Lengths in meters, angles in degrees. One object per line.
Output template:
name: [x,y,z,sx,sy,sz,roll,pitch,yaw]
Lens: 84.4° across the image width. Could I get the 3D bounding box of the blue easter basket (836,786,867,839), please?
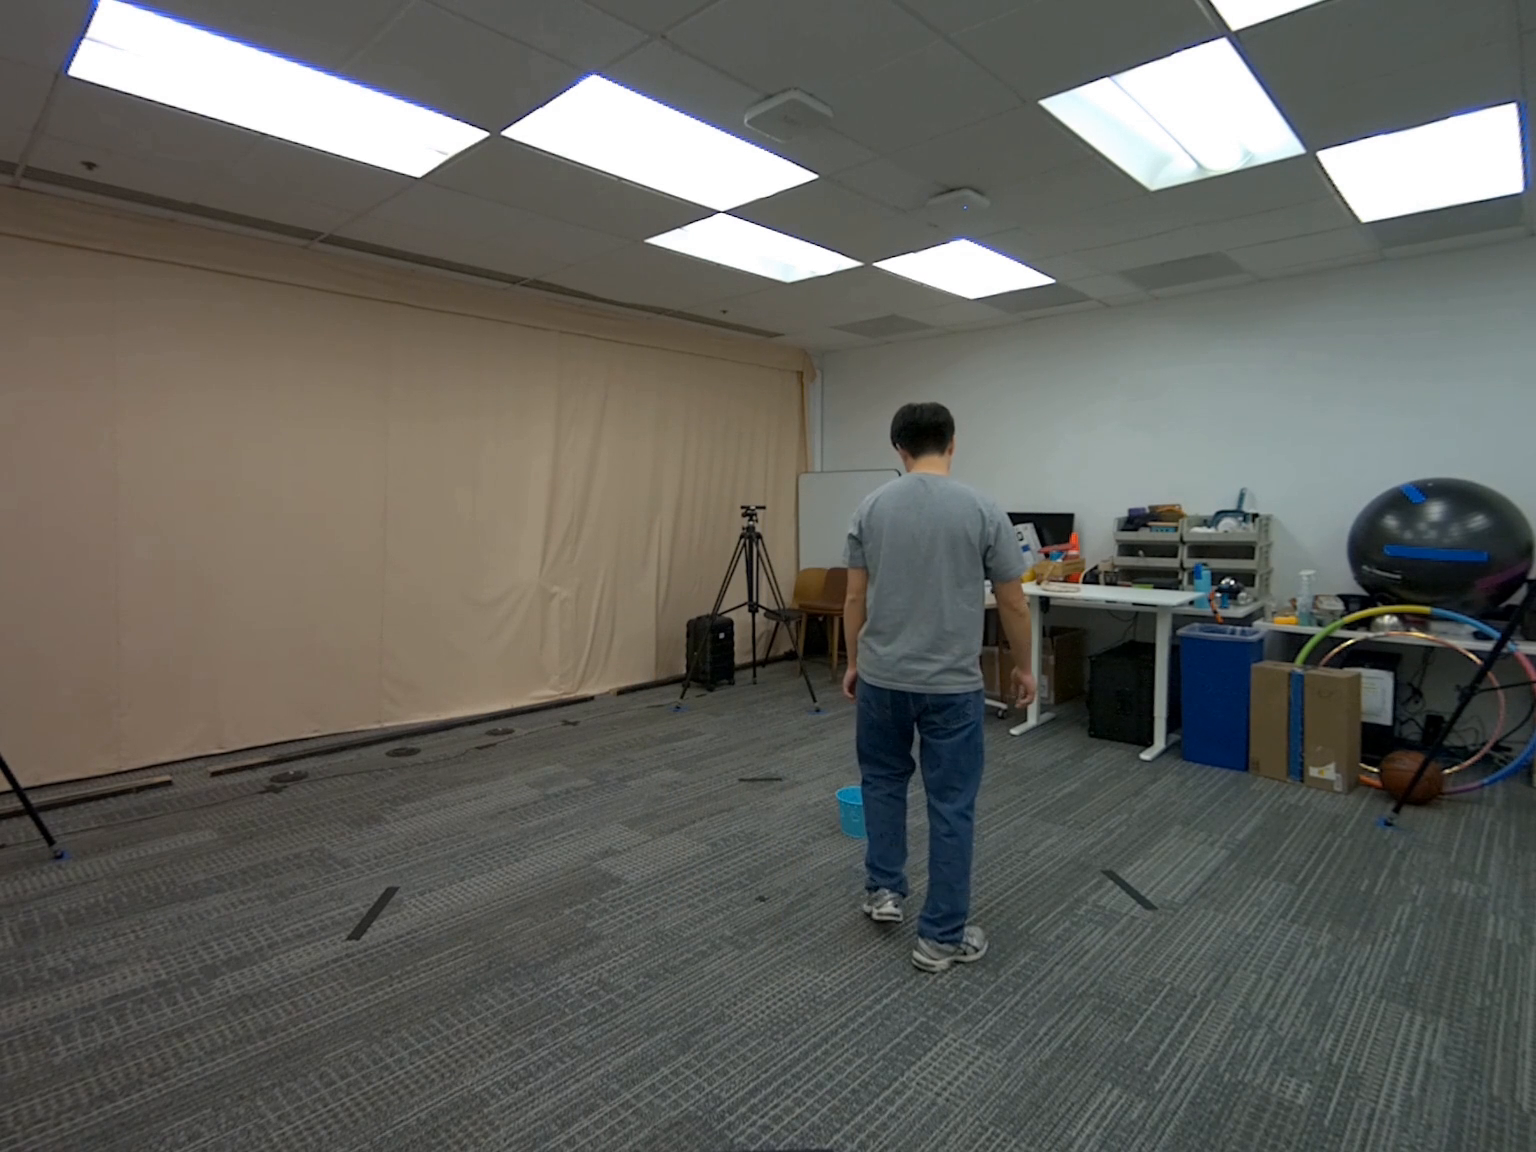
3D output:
blue easter basket: [0.415,1.010,3.609,0.243,0.155,0.244,-1,4,-2]
